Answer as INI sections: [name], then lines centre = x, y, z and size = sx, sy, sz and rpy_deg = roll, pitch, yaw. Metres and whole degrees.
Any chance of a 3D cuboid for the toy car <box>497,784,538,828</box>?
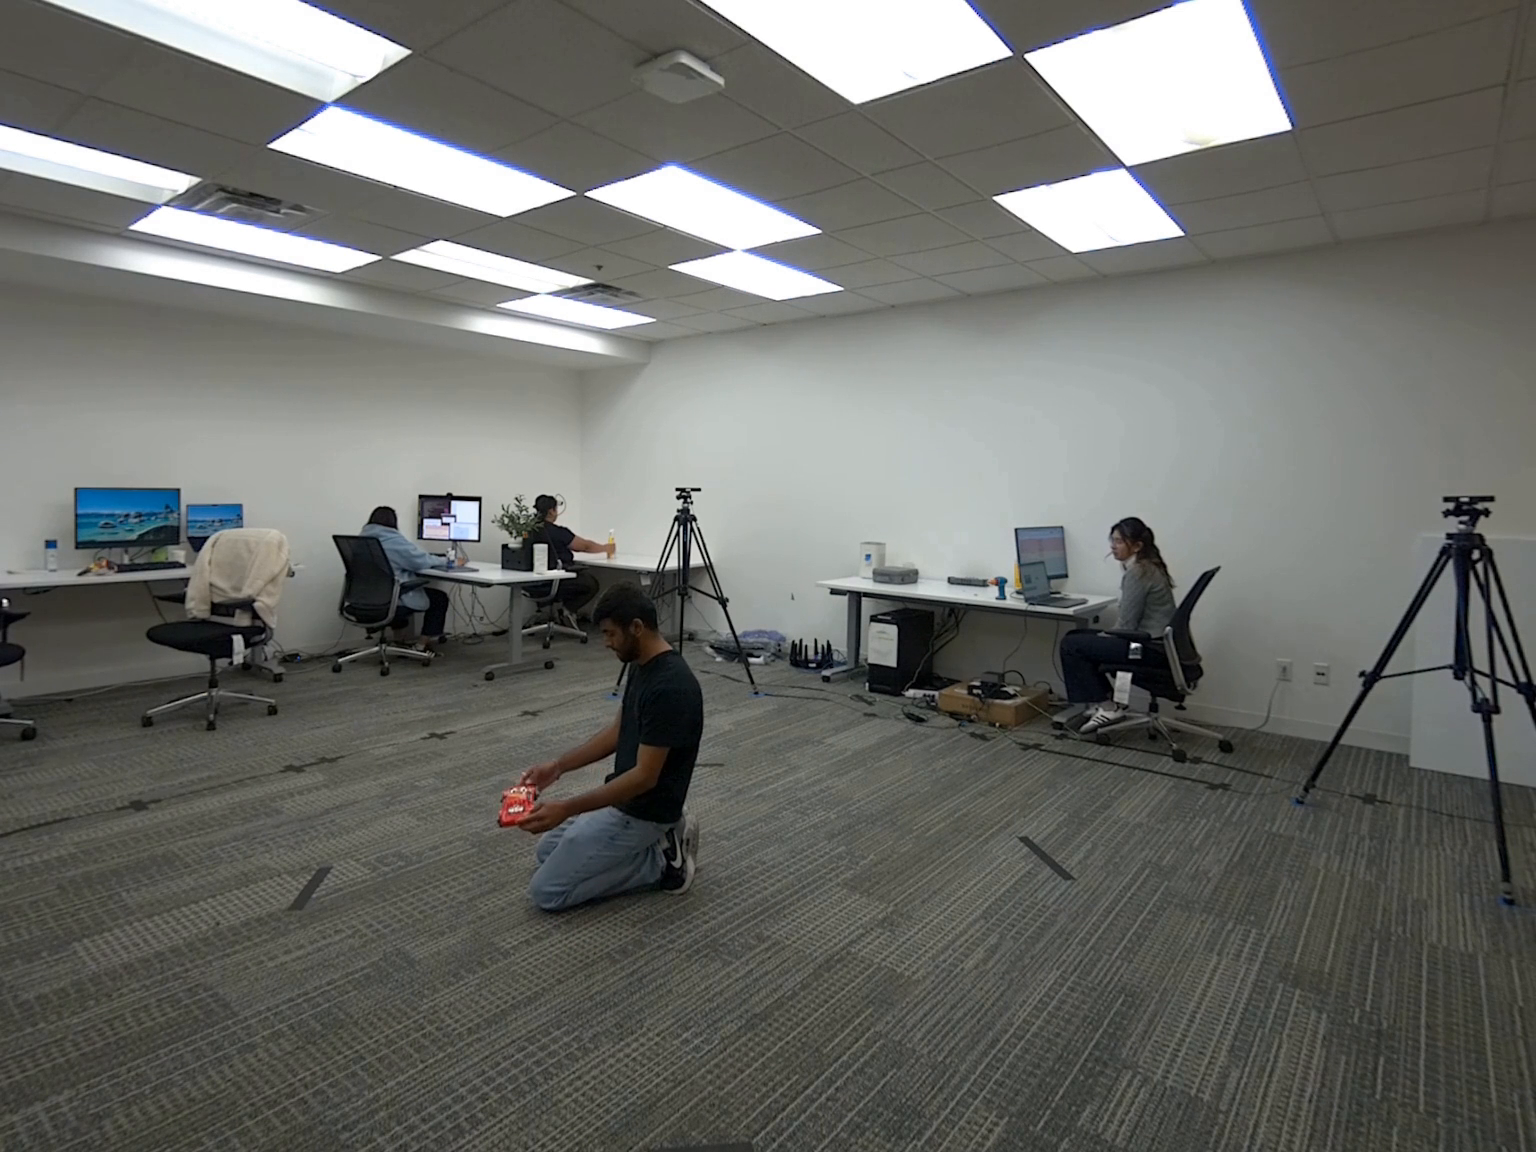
[toy car]
centre = -0.819, 0.750, 2.765
size = 0.129, 0.083, 0.257
rpy_deg = -6, 3, -11
